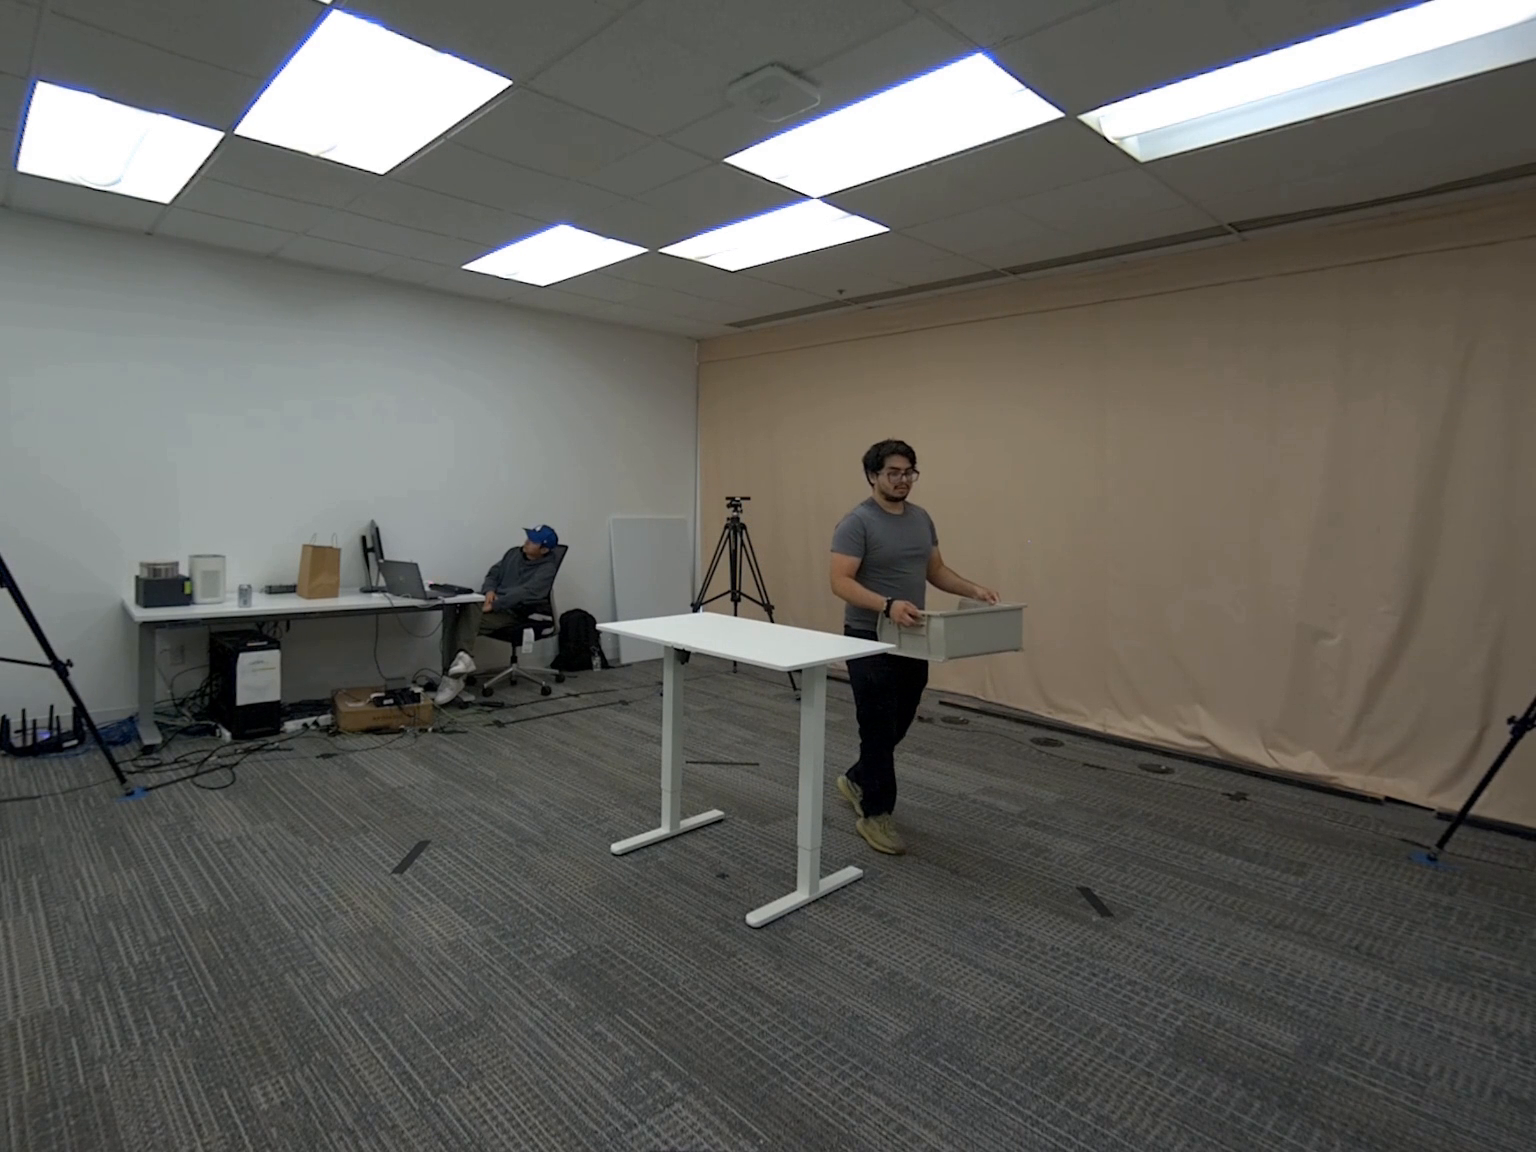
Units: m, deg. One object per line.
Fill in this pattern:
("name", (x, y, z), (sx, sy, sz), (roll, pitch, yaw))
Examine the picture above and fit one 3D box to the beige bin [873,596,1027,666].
("beige bin", (0.689, 0.198, 3.242), (0.414, 0.188, 0.385), (-2, 4, -27))
